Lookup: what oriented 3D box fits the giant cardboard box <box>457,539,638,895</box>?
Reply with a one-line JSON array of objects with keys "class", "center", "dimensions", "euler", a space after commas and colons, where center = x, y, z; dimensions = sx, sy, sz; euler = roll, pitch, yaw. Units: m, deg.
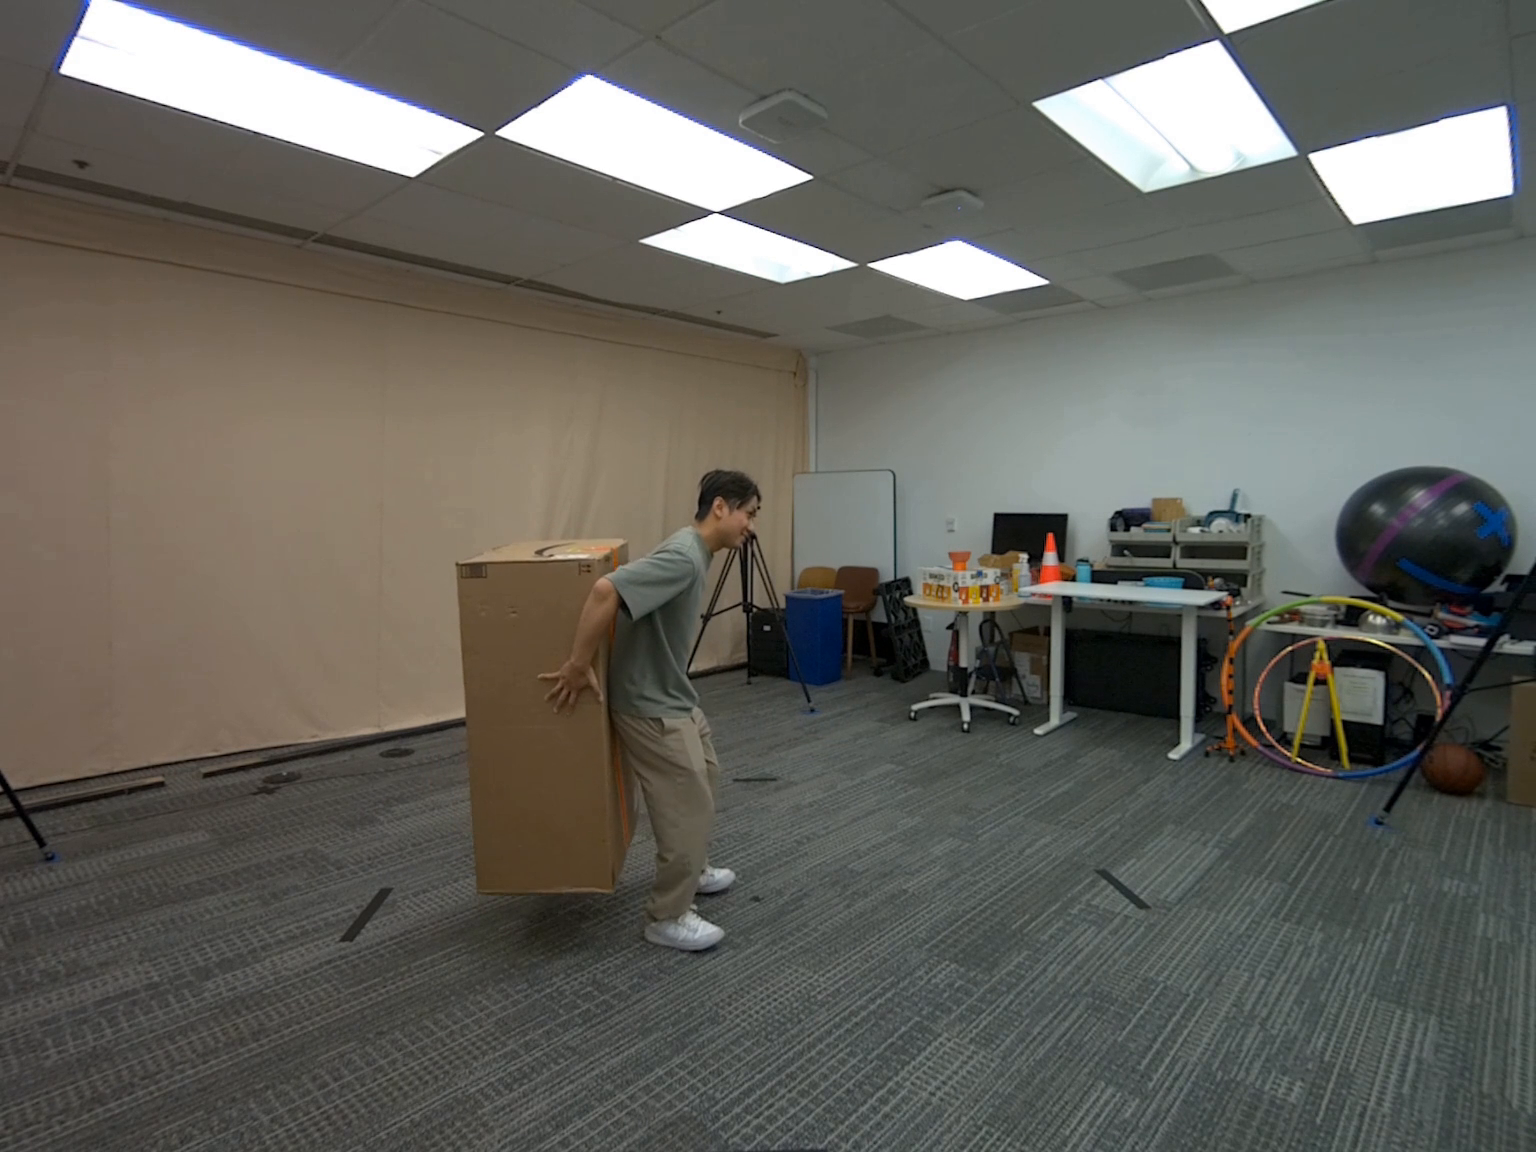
[{"class": "giant cardboard box", "center": [-0.699, 0.426, 2.782], "dimensions": [0.427, 1.022, 0.578], "euler": [-2, 5, 1]}]
